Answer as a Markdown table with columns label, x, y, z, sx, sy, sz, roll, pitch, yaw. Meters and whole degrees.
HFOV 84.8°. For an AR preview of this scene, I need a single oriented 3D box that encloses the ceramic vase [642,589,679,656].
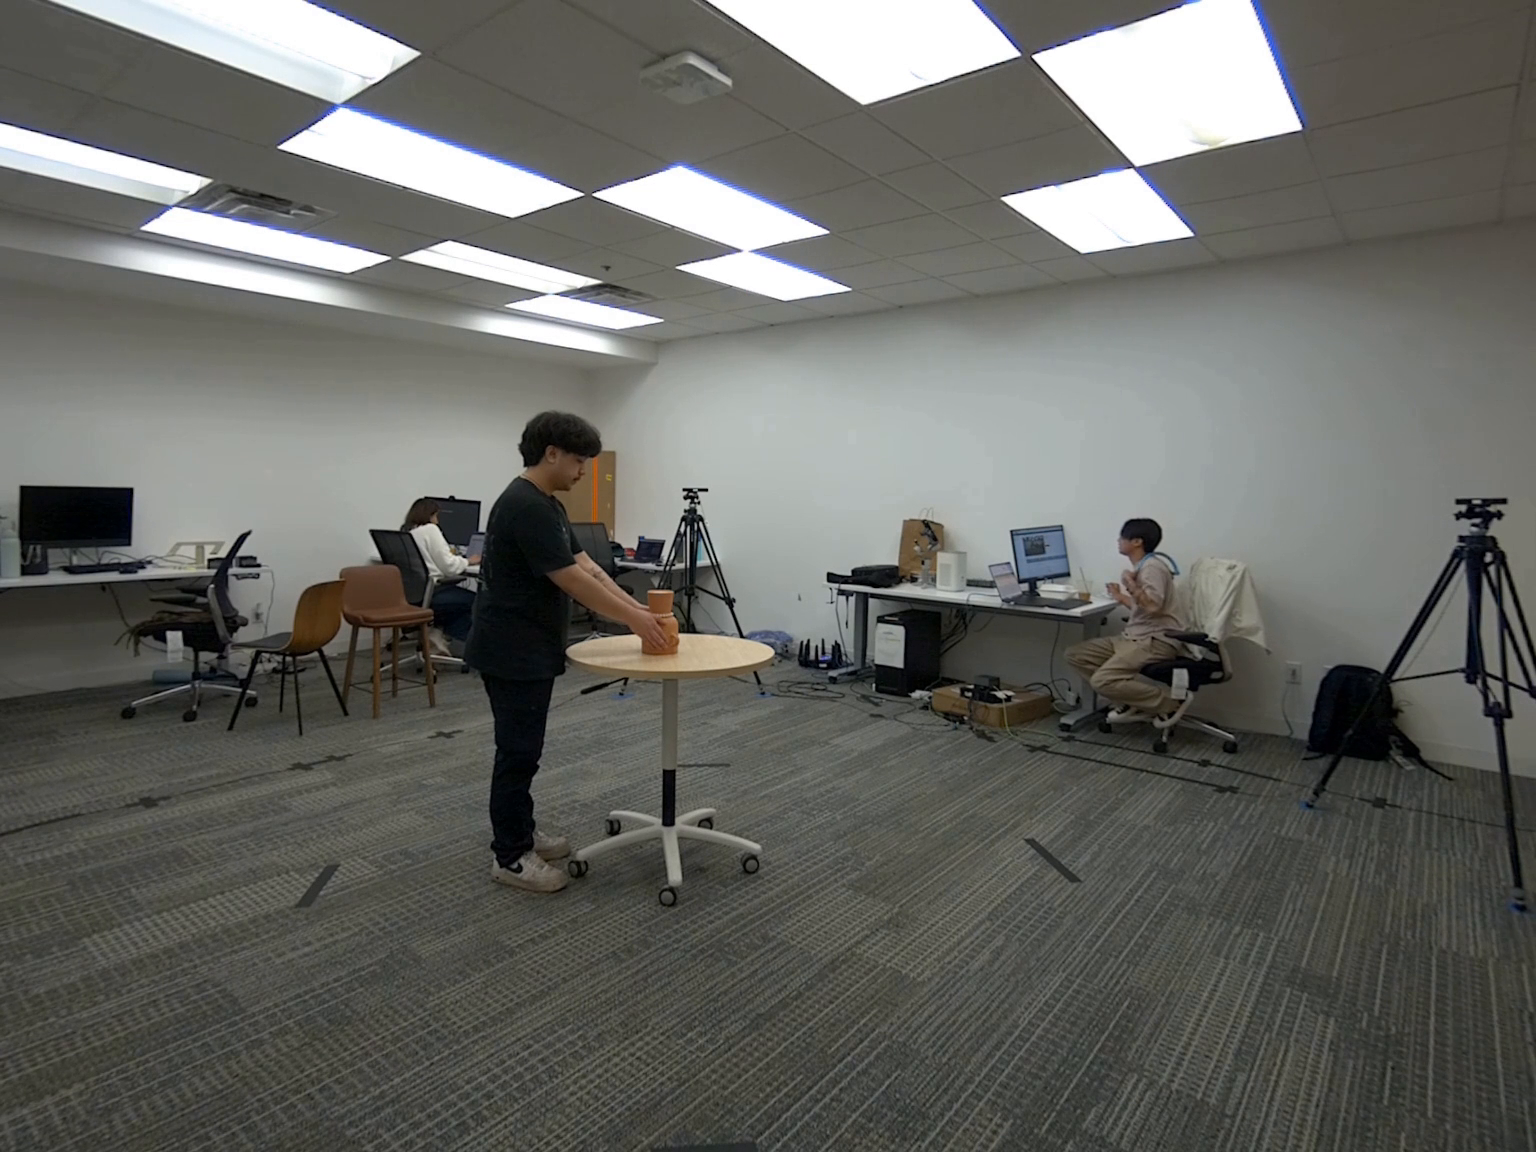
| label | x | y | z | sx | sy | sz | roll | pitch | yaw |
| --- | --- | --- | --- | --- | --- | --- | --- | --- | --- |
| ceramic vase | -0.406 | 0.167 | 3.090 | 0.159 | 0.219 | 0.135 | 1 | 4 | 2 |
